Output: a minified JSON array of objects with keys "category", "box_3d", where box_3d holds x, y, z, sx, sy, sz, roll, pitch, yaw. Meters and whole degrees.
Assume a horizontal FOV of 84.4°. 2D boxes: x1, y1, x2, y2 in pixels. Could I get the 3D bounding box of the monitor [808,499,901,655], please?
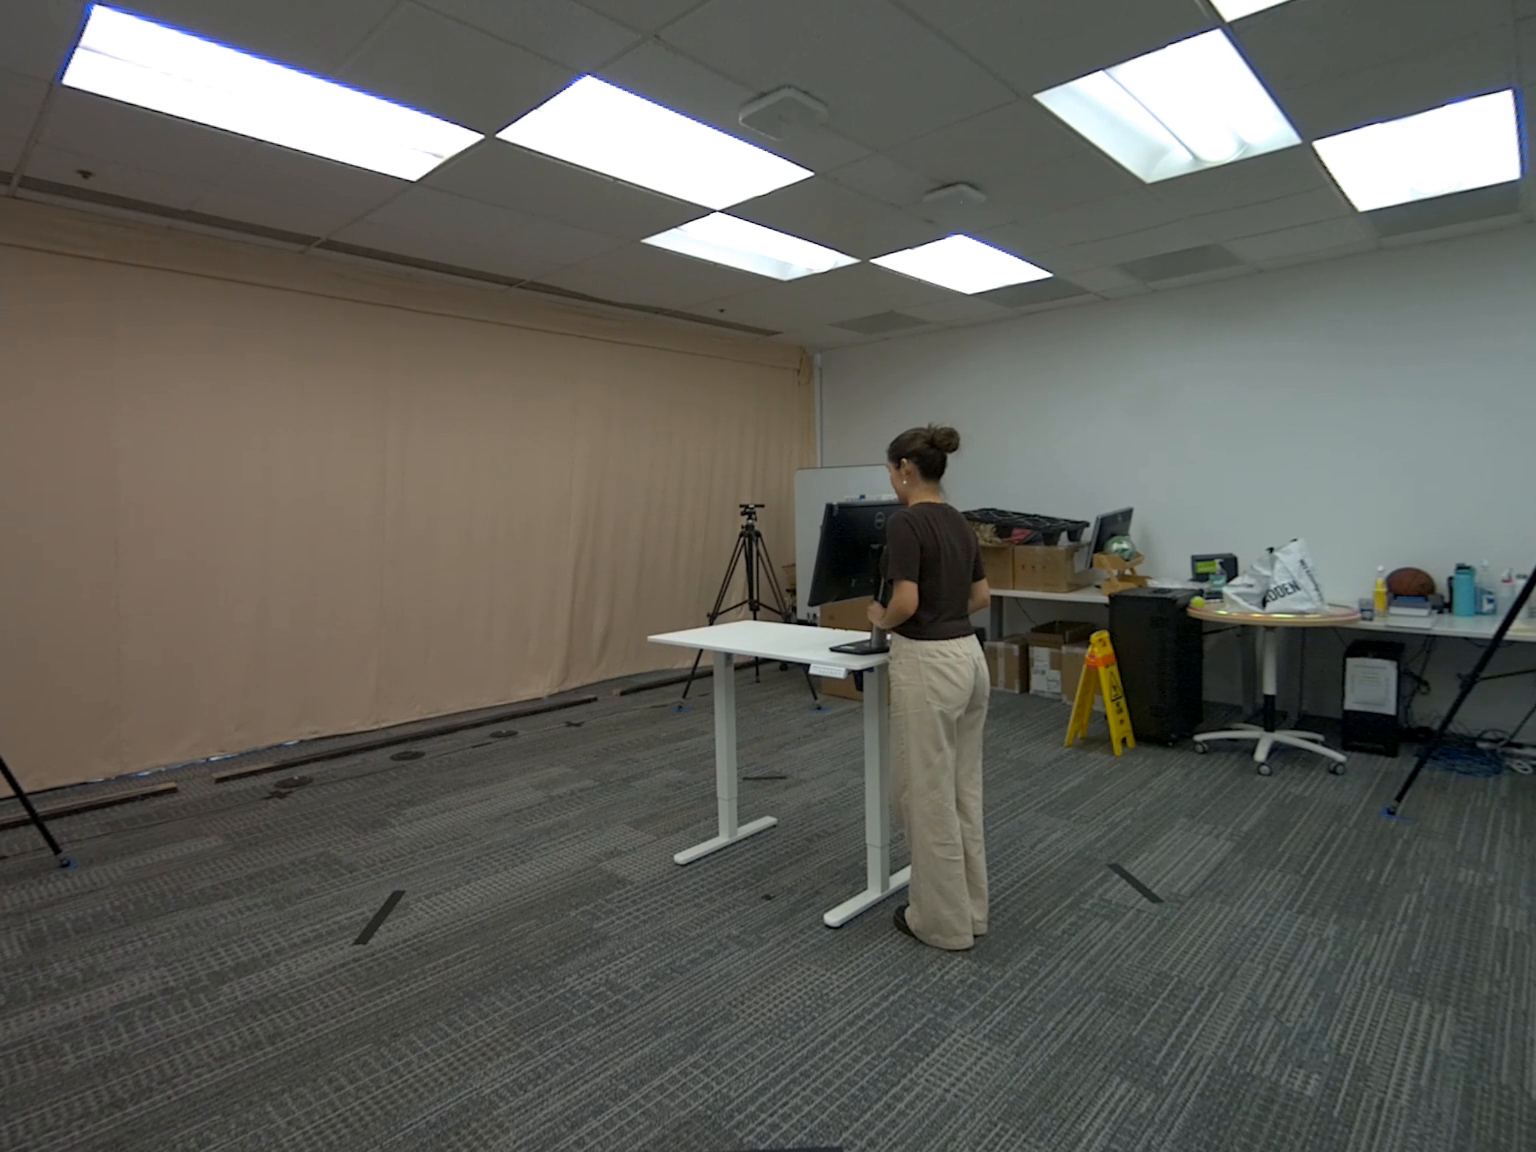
[{"category":"monitor","box_3d":[0.365,-0.003,2.914,0.180,0.515,0.514,-1,5,41]}]
